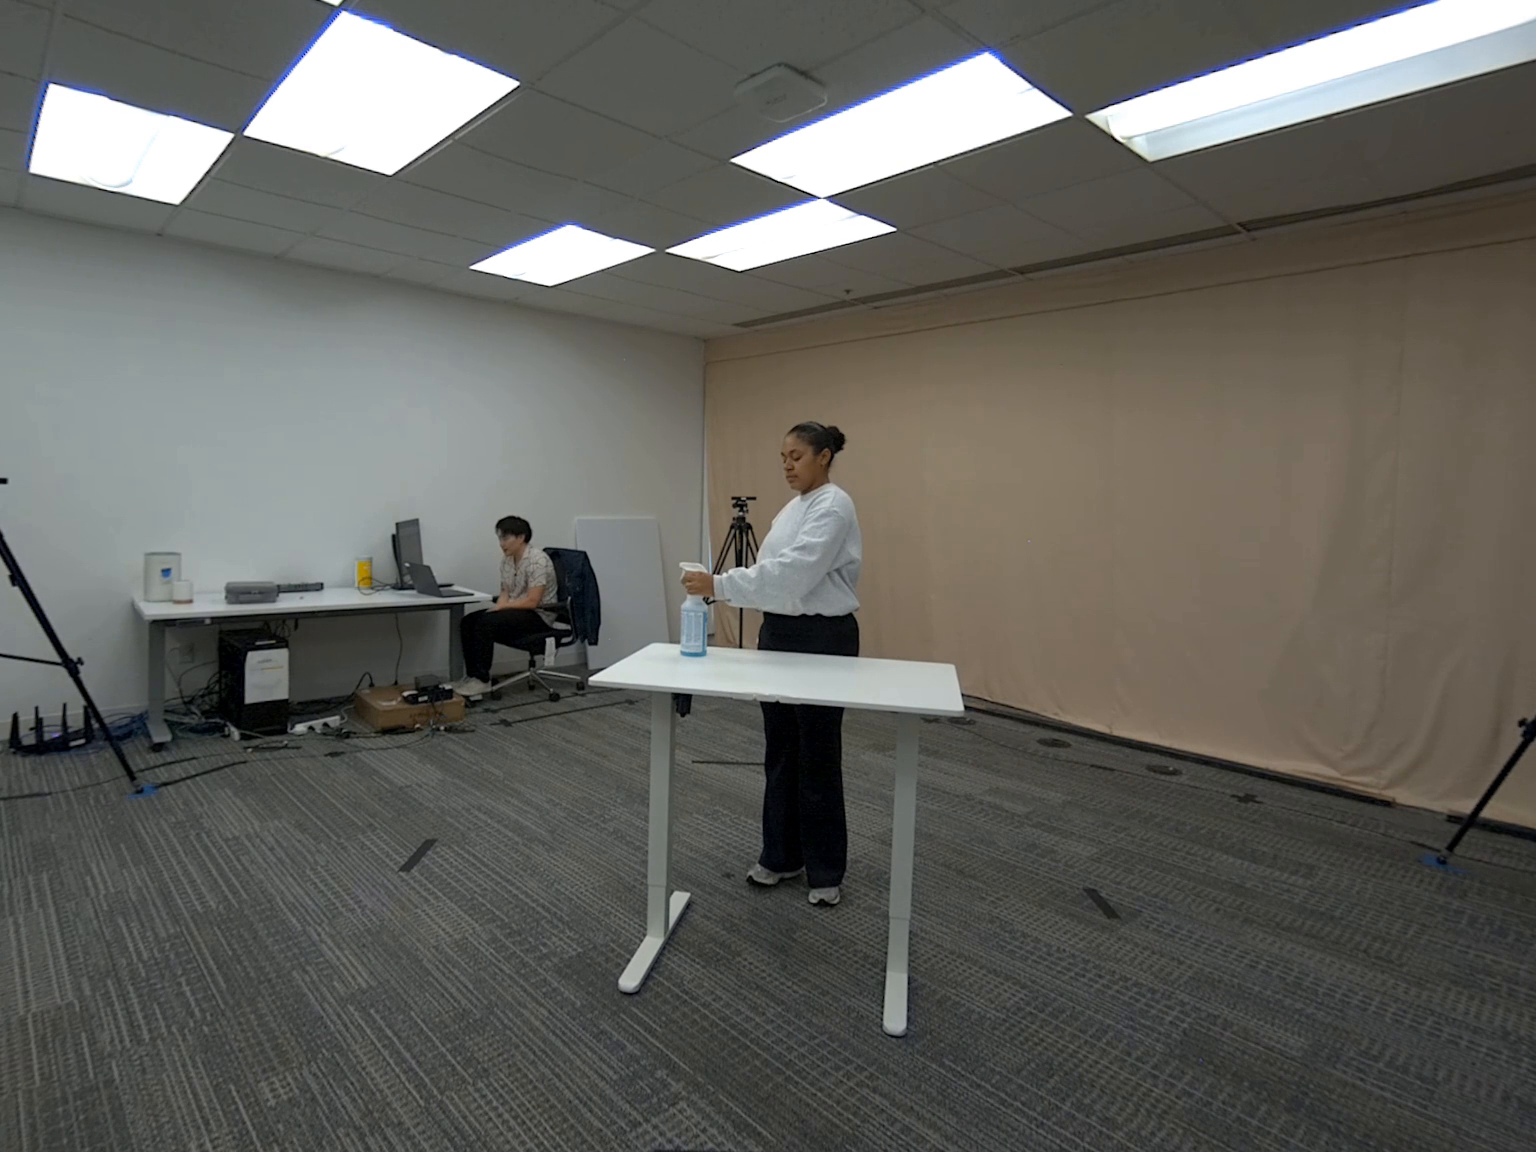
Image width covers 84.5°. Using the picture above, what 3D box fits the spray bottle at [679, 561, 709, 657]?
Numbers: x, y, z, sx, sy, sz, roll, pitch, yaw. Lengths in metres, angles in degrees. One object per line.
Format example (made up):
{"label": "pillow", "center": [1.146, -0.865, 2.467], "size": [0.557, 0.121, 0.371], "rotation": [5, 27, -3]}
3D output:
{"label": "spray bottle", "center": [-0.246, 0.111, 2.708], "size": [0.092, 0.297, 0.085], "rotation": [1, 4, 37]}
